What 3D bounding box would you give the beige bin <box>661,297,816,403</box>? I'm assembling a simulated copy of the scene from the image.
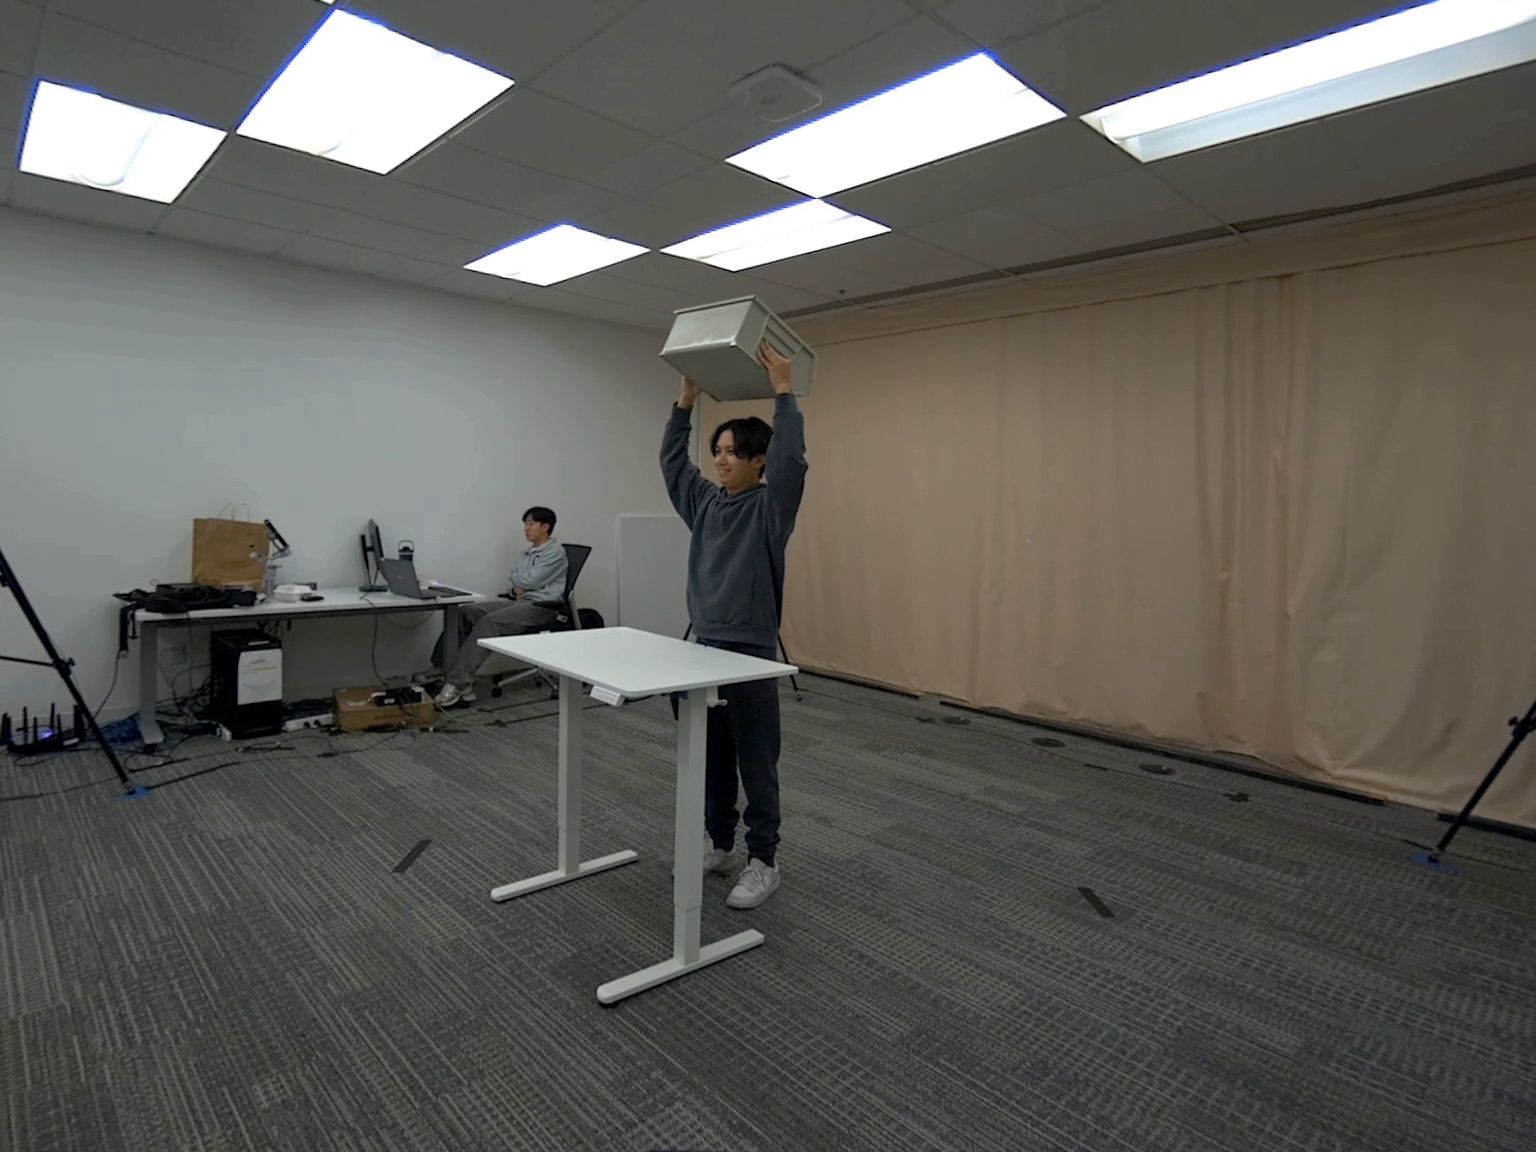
[{"bbox_3d":[-0.109,-0.757,2.921,0.434,0.190,0.365,10,-17,47],"label":"beige bin"}]
